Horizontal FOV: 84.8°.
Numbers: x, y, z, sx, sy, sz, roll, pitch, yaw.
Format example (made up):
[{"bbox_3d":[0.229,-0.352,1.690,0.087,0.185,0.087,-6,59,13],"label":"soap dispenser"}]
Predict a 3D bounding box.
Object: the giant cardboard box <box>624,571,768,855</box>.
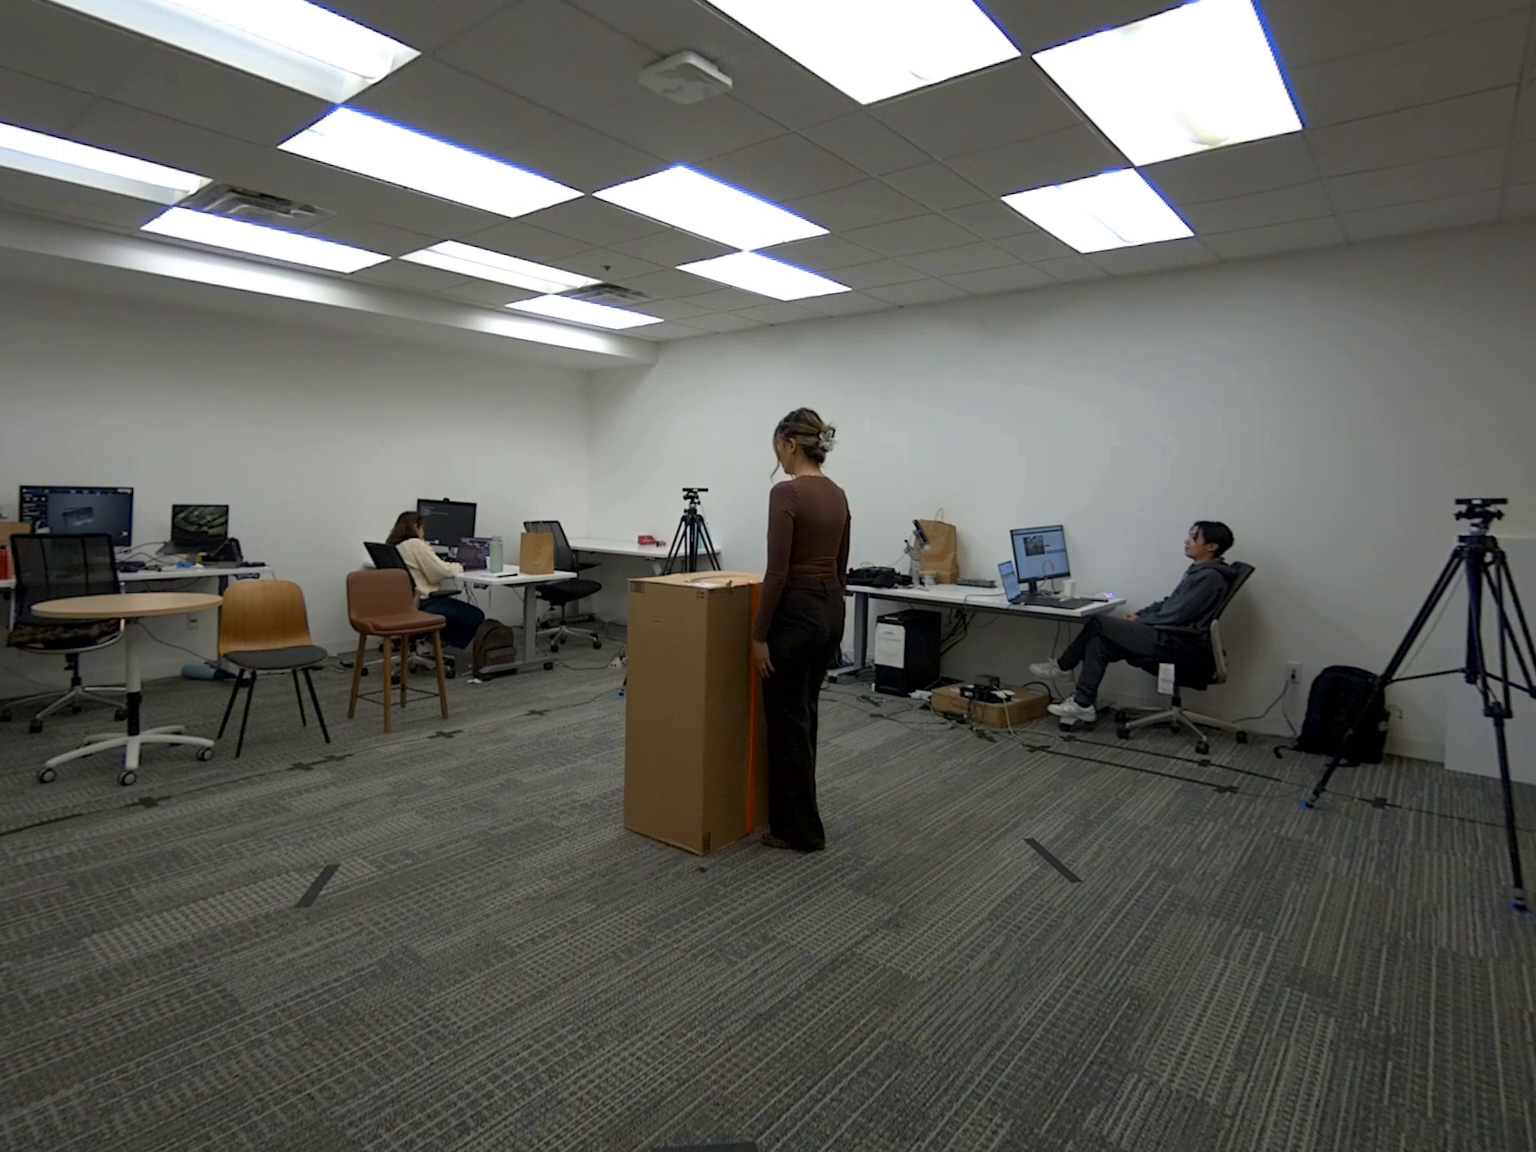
[{"bbox_3d":[-0.260,0.515,3.539,0.462,1.024,0.567,4,5,38],"label":"giant cardboard box"}]
